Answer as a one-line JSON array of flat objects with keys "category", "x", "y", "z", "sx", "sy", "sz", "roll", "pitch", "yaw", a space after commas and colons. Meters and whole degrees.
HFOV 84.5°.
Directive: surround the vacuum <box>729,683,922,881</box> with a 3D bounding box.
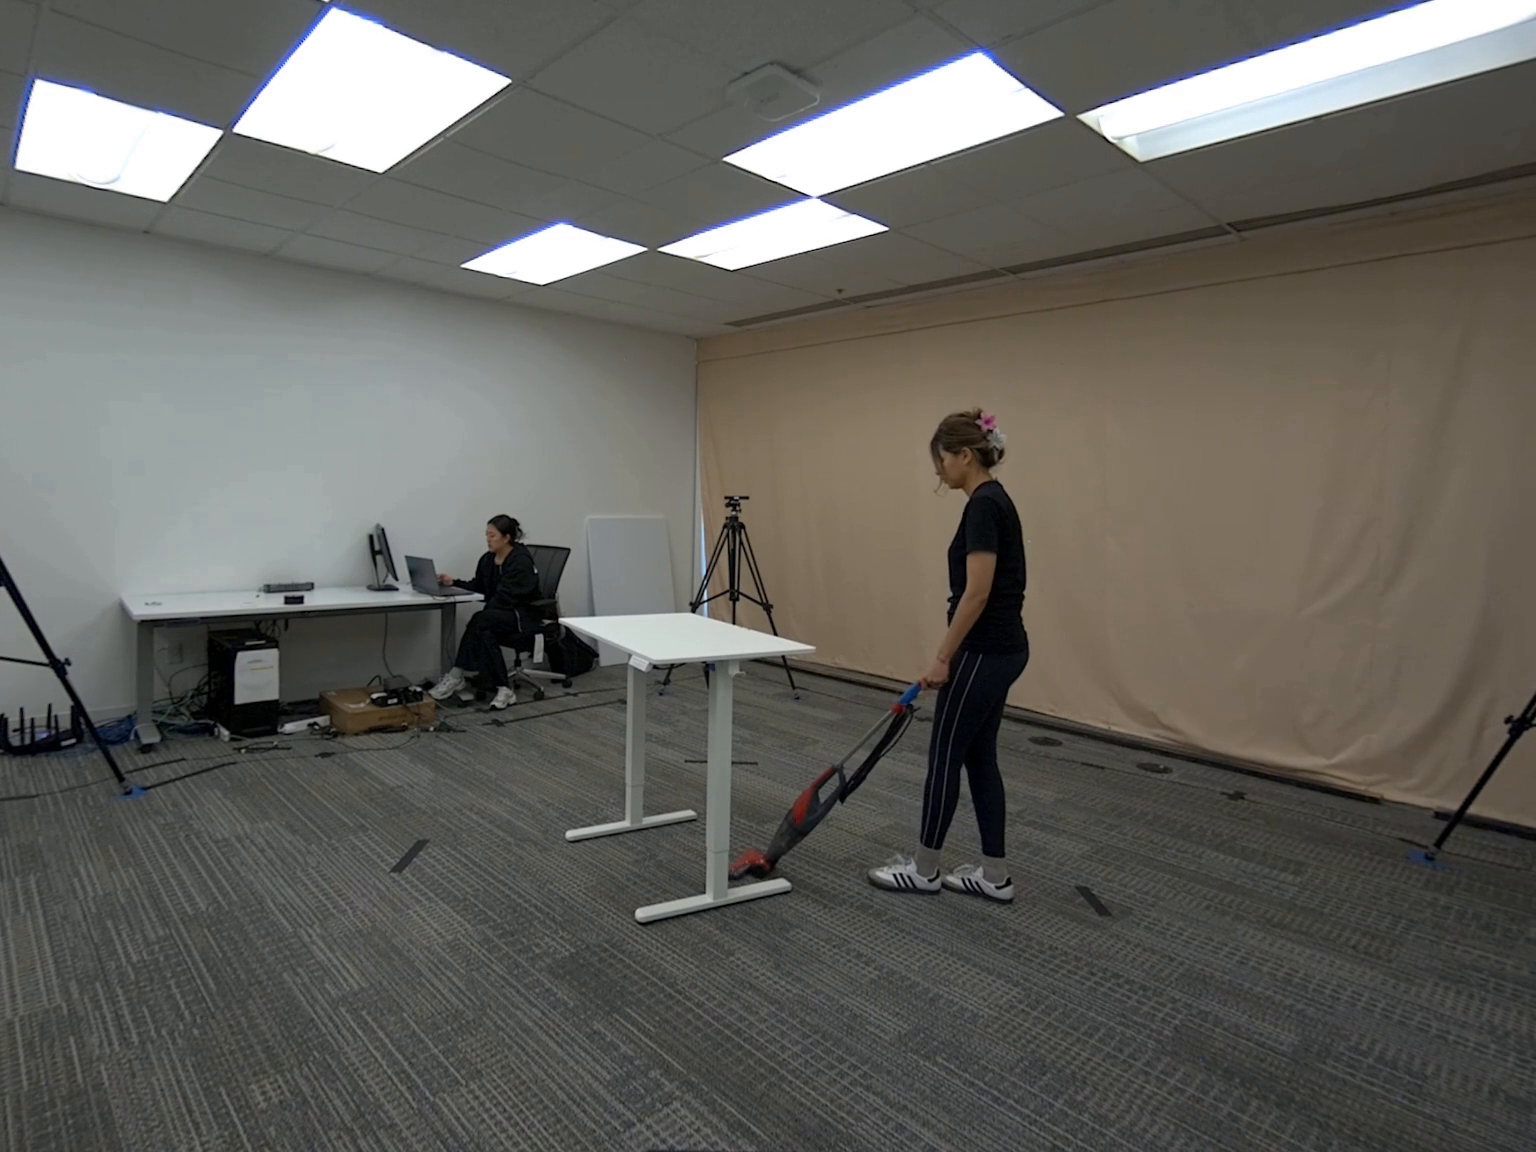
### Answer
[{"category": "vacuum", "x": 0.255, "y": 0.719, "z": 3.005, "sx": 0.145, "sy": 1.049, "sz": 0.250, "roll": 45, "pitch": 19, "yaw": 7}]
